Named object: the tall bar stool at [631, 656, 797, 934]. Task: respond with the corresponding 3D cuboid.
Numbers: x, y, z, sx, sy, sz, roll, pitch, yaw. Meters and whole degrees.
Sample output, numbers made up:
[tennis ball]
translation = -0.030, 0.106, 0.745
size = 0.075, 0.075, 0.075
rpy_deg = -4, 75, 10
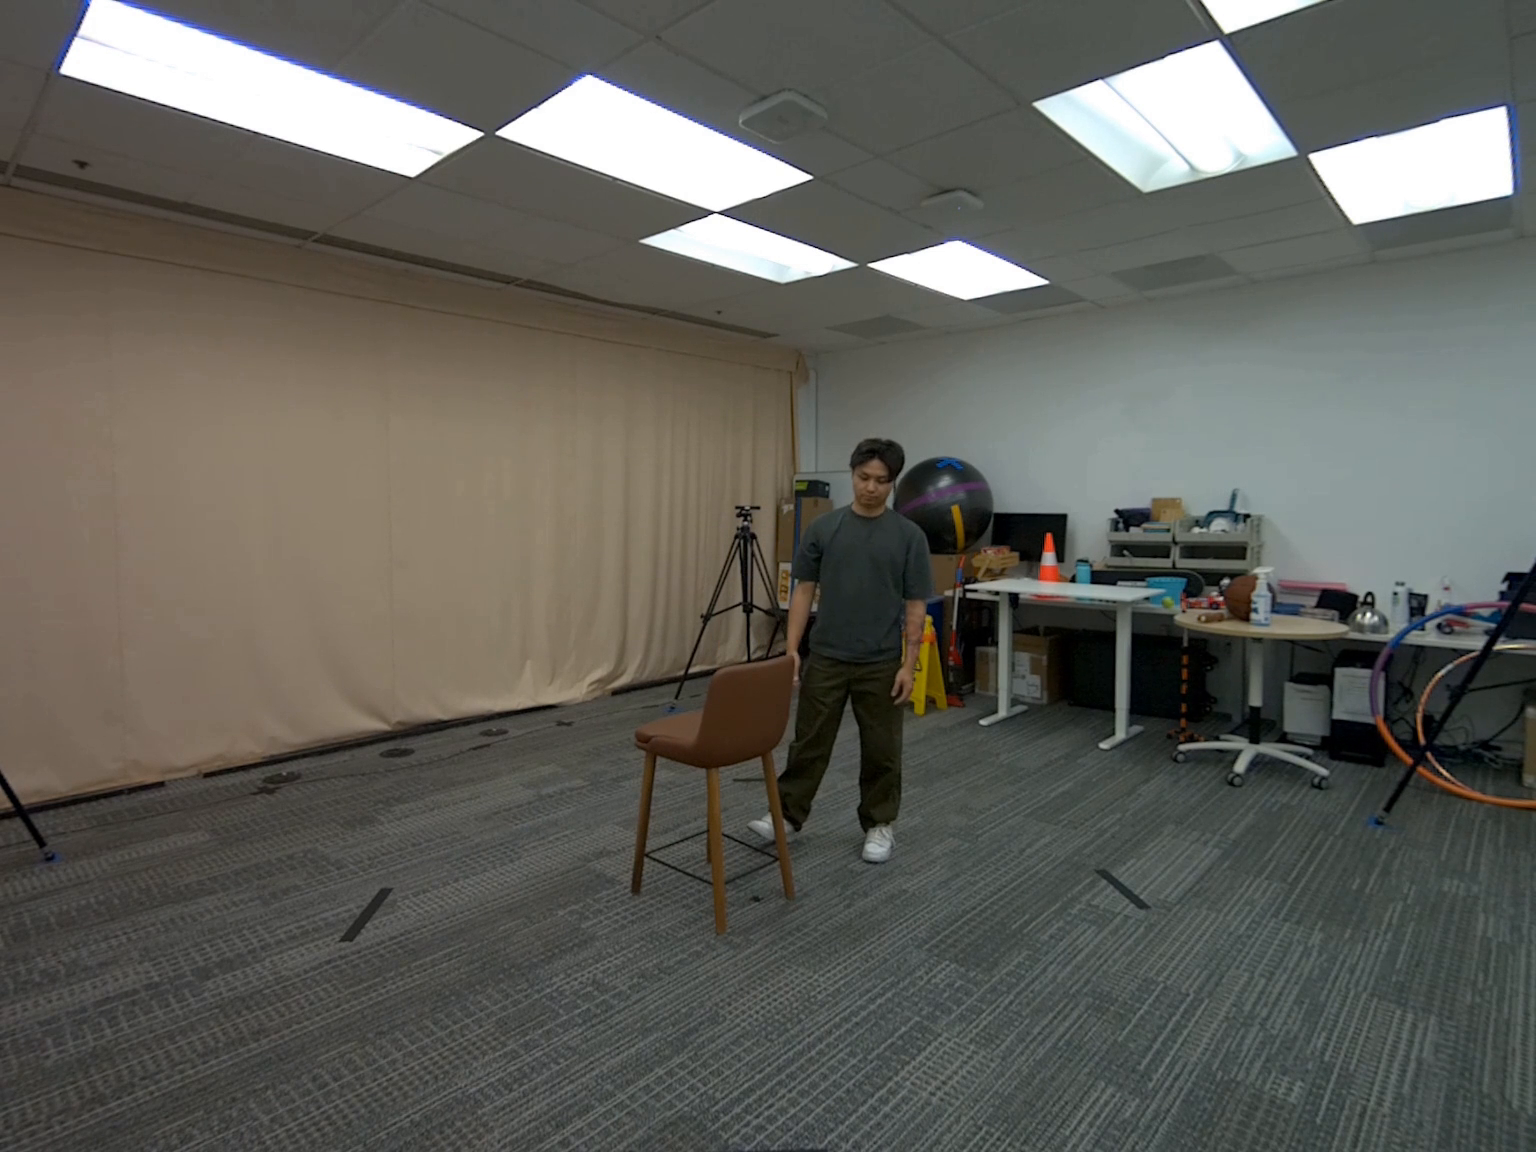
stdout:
[tall bar stool]
translation = -0.190, 0.709, 2.991
size = 0.483, 0.887, 0.442
rpy_deg = 5, 6, 44
